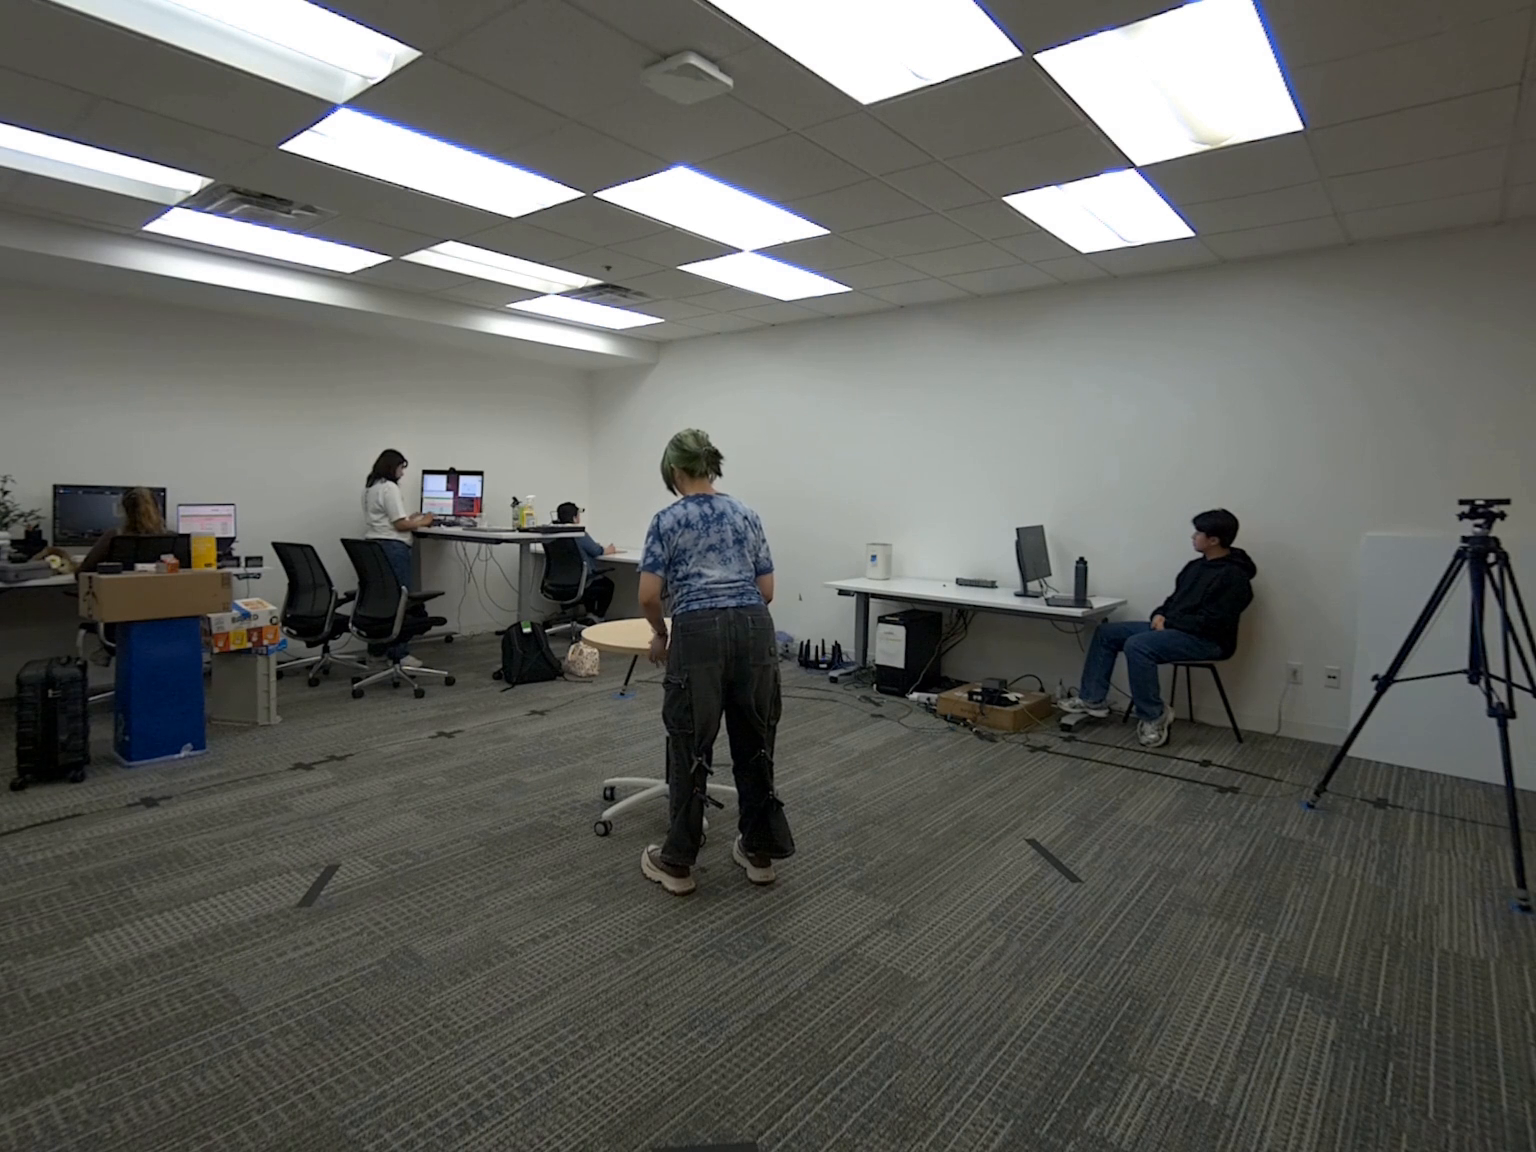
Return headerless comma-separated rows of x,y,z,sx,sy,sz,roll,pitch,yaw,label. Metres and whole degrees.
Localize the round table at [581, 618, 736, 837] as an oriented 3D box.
-0.425,0.628,3.604,0.763,0.791,0.768,0,4,-2,round table
